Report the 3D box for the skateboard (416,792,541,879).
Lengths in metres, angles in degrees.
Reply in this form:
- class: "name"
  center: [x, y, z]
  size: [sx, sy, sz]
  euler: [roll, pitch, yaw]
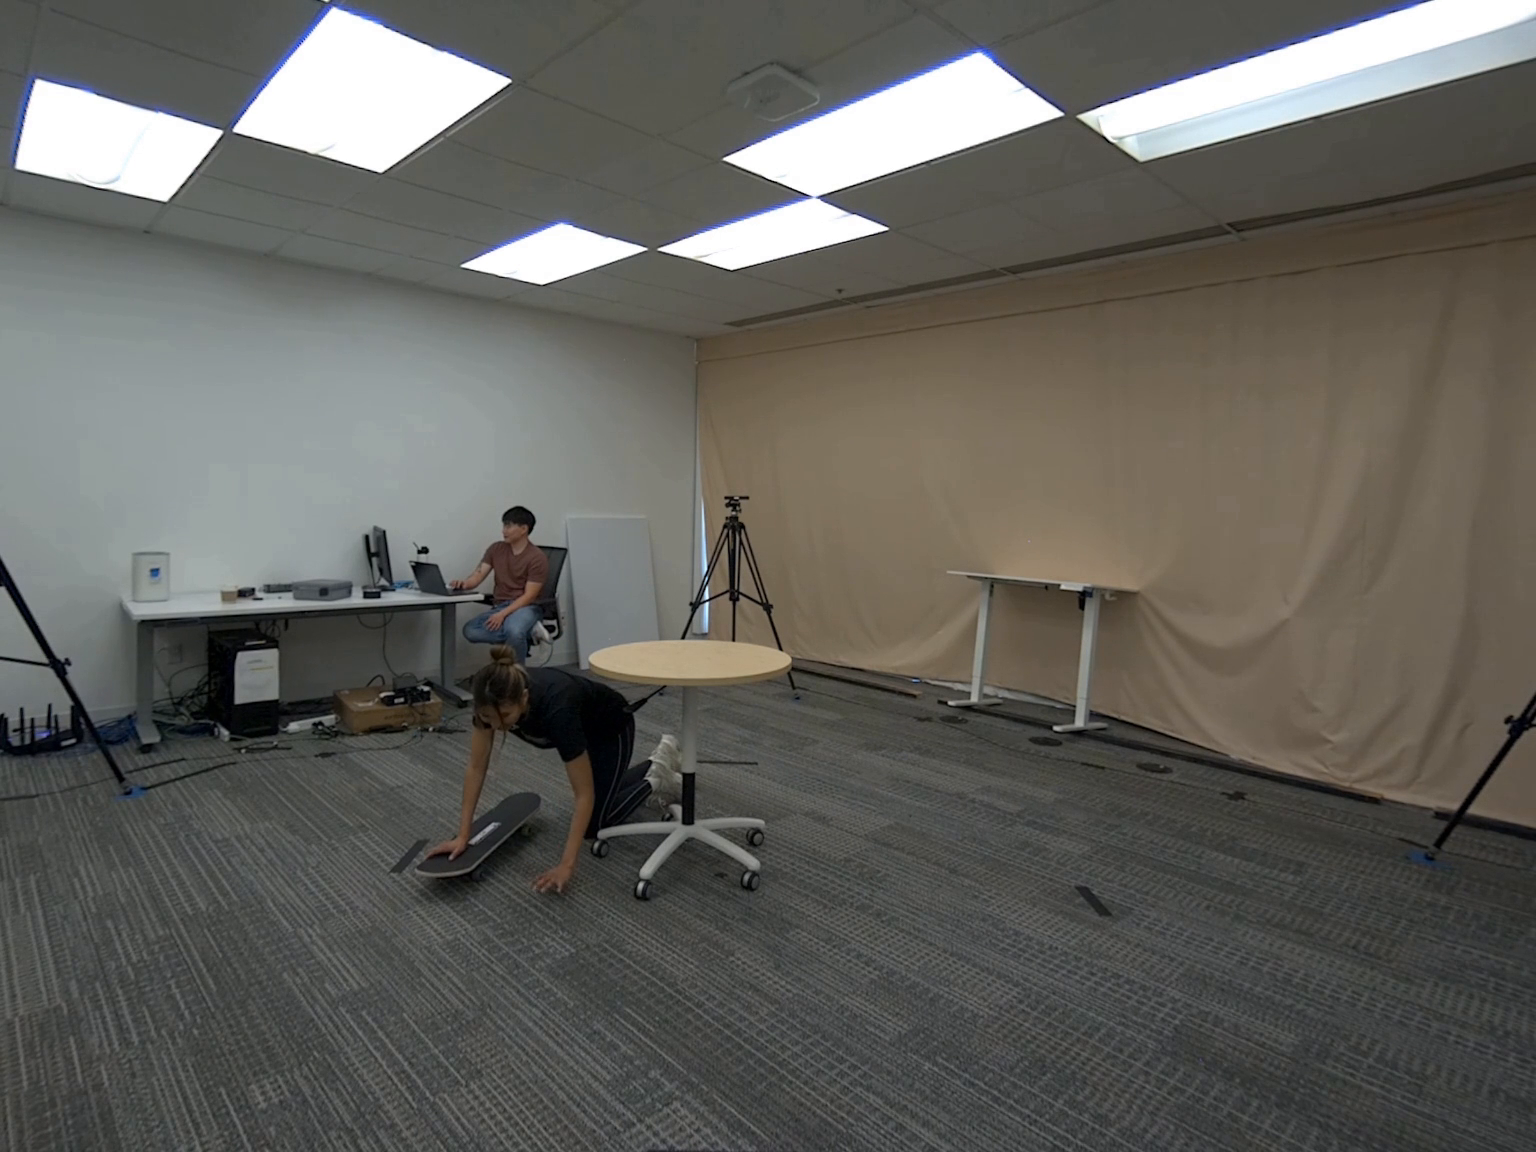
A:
- class: "skateboard"
  center: [-1.084, 1.013, 3.217]
  size: [0.195, 0.110, 0.780]
  euler: [0, 5, 10]
